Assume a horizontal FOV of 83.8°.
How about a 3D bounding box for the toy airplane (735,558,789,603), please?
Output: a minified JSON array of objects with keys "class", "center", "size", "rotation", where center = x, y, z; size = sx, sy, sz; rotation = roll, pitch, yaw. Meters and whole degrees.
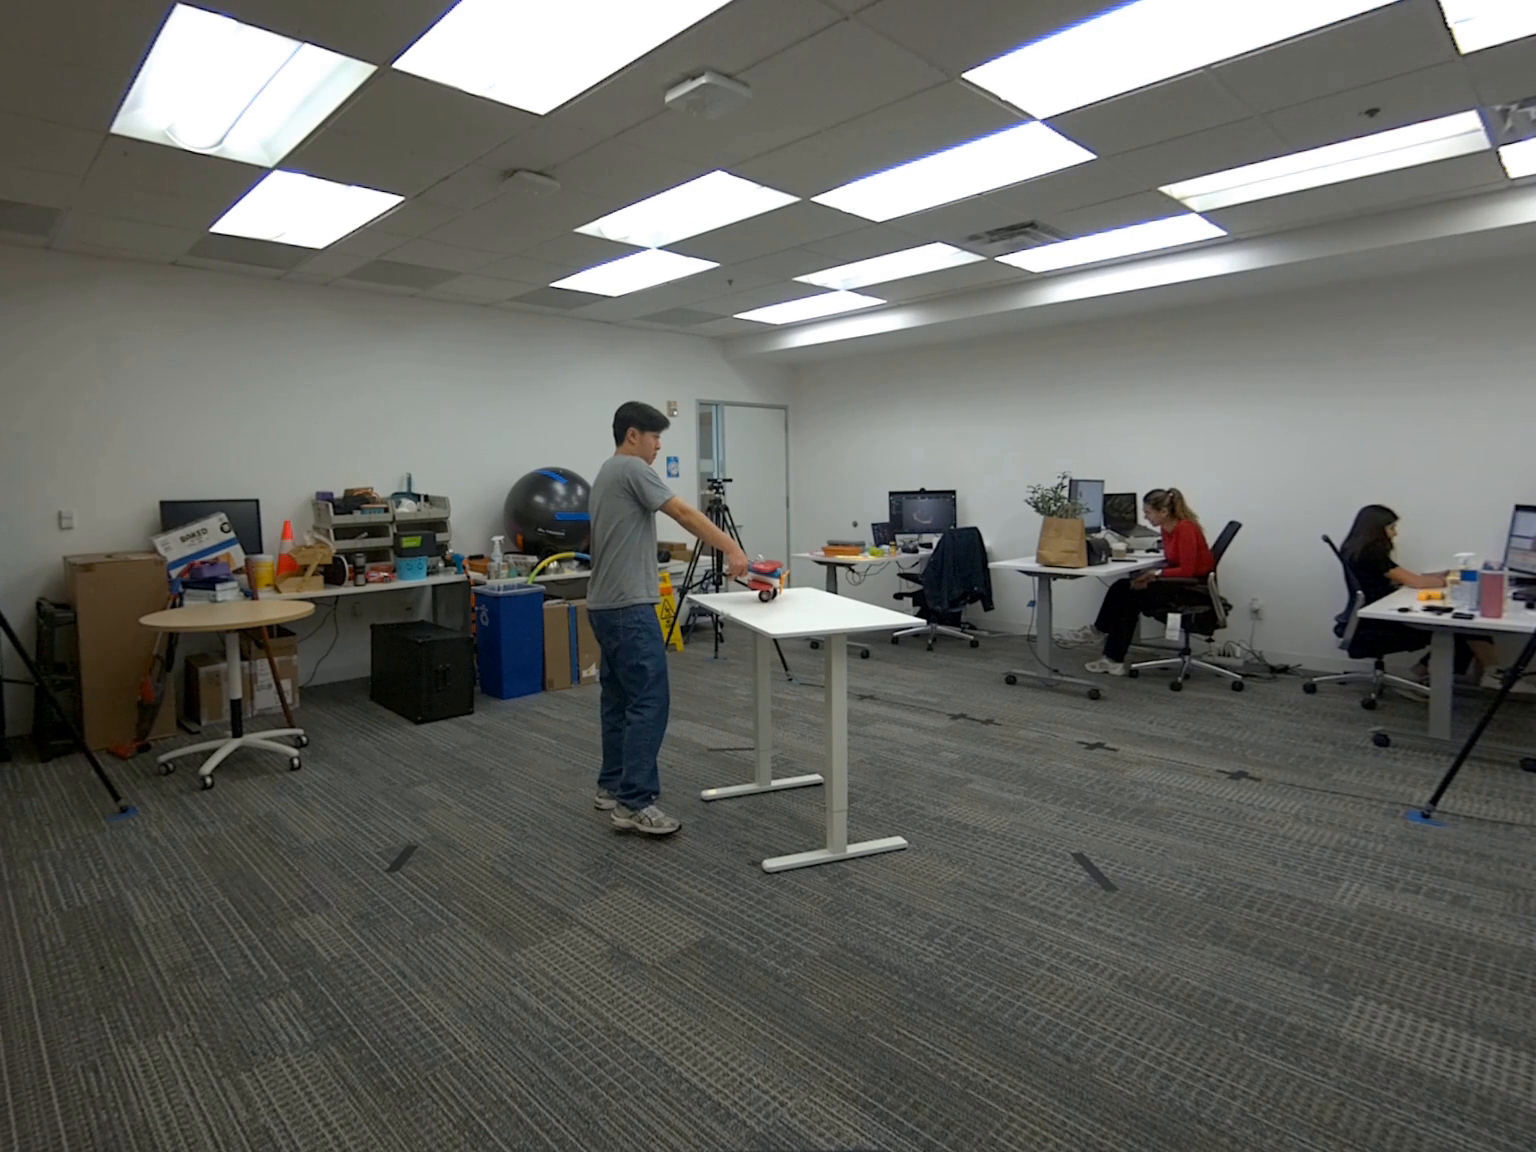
[{"class":"toy airplane","center":[-0.056,-0.001,3.586],"size":[0.255,0.155,0.257],"rotation":[21,13,-14]}]
